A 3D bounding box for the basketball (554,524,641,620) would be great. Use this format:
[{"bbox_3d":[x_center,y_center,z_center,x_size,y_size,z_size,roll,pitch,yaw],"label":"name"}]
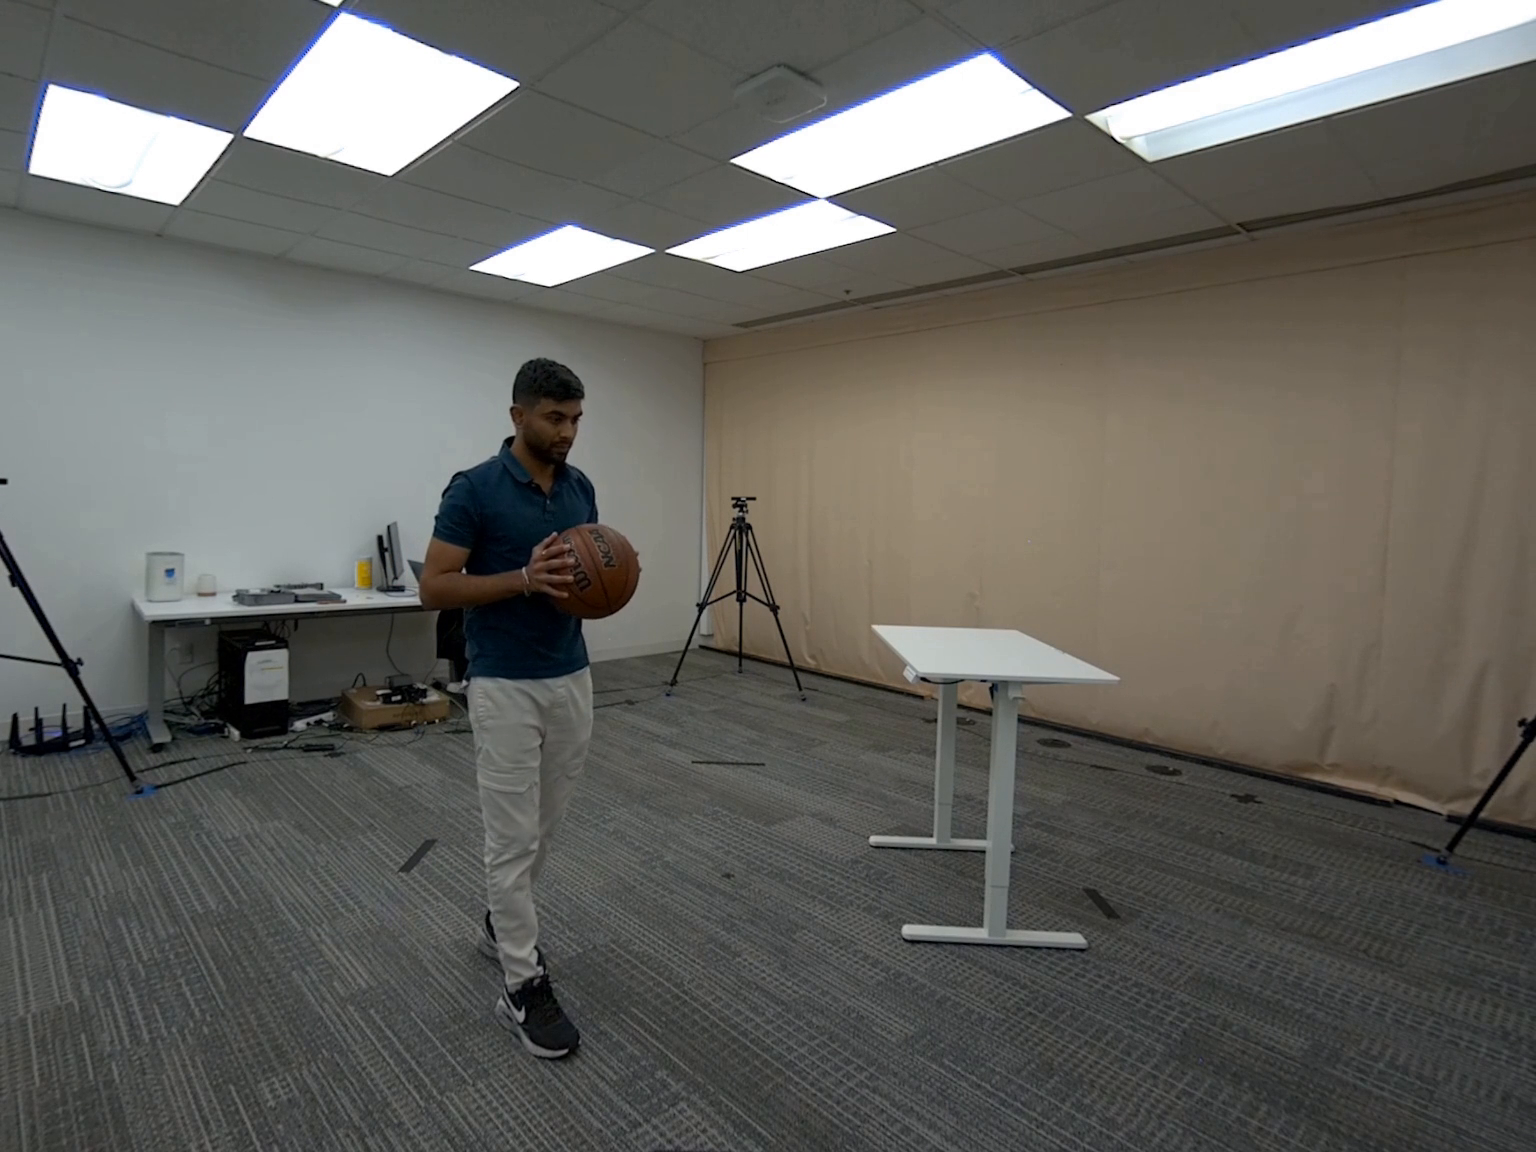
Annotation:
[{"bbox_3d":[-0.449,-0.012,2.098,0.236,0.235,0.237,1,4,-1],"label":"basketball"}]
